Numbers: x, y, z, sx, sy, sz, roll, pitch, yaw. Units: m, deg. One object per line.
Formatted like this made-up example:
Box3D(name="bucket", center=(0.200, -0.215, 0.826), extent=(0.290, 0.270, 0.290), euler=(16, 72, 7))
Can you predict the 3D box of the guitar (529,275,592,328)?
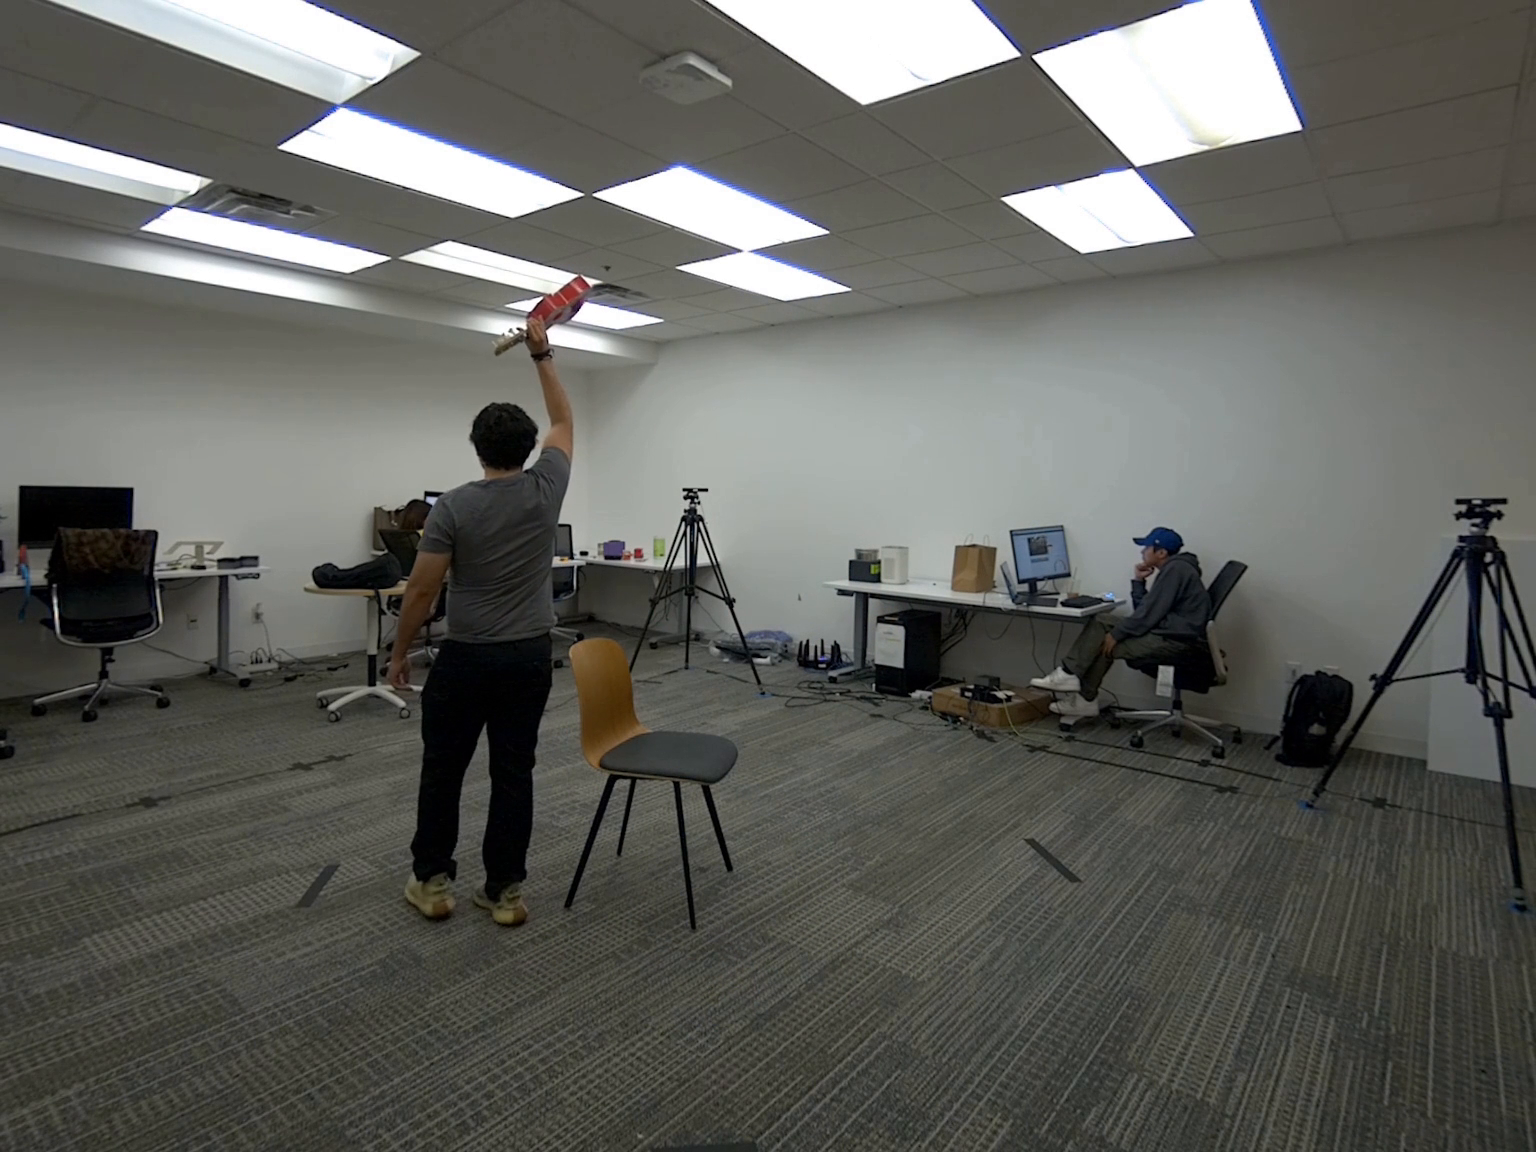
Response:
Box3D(name="guitar", center=(-0.794, -0.910, 2.941), extent=(0.194, 0.070, 0.499), euler=(-39, 9, 37))
